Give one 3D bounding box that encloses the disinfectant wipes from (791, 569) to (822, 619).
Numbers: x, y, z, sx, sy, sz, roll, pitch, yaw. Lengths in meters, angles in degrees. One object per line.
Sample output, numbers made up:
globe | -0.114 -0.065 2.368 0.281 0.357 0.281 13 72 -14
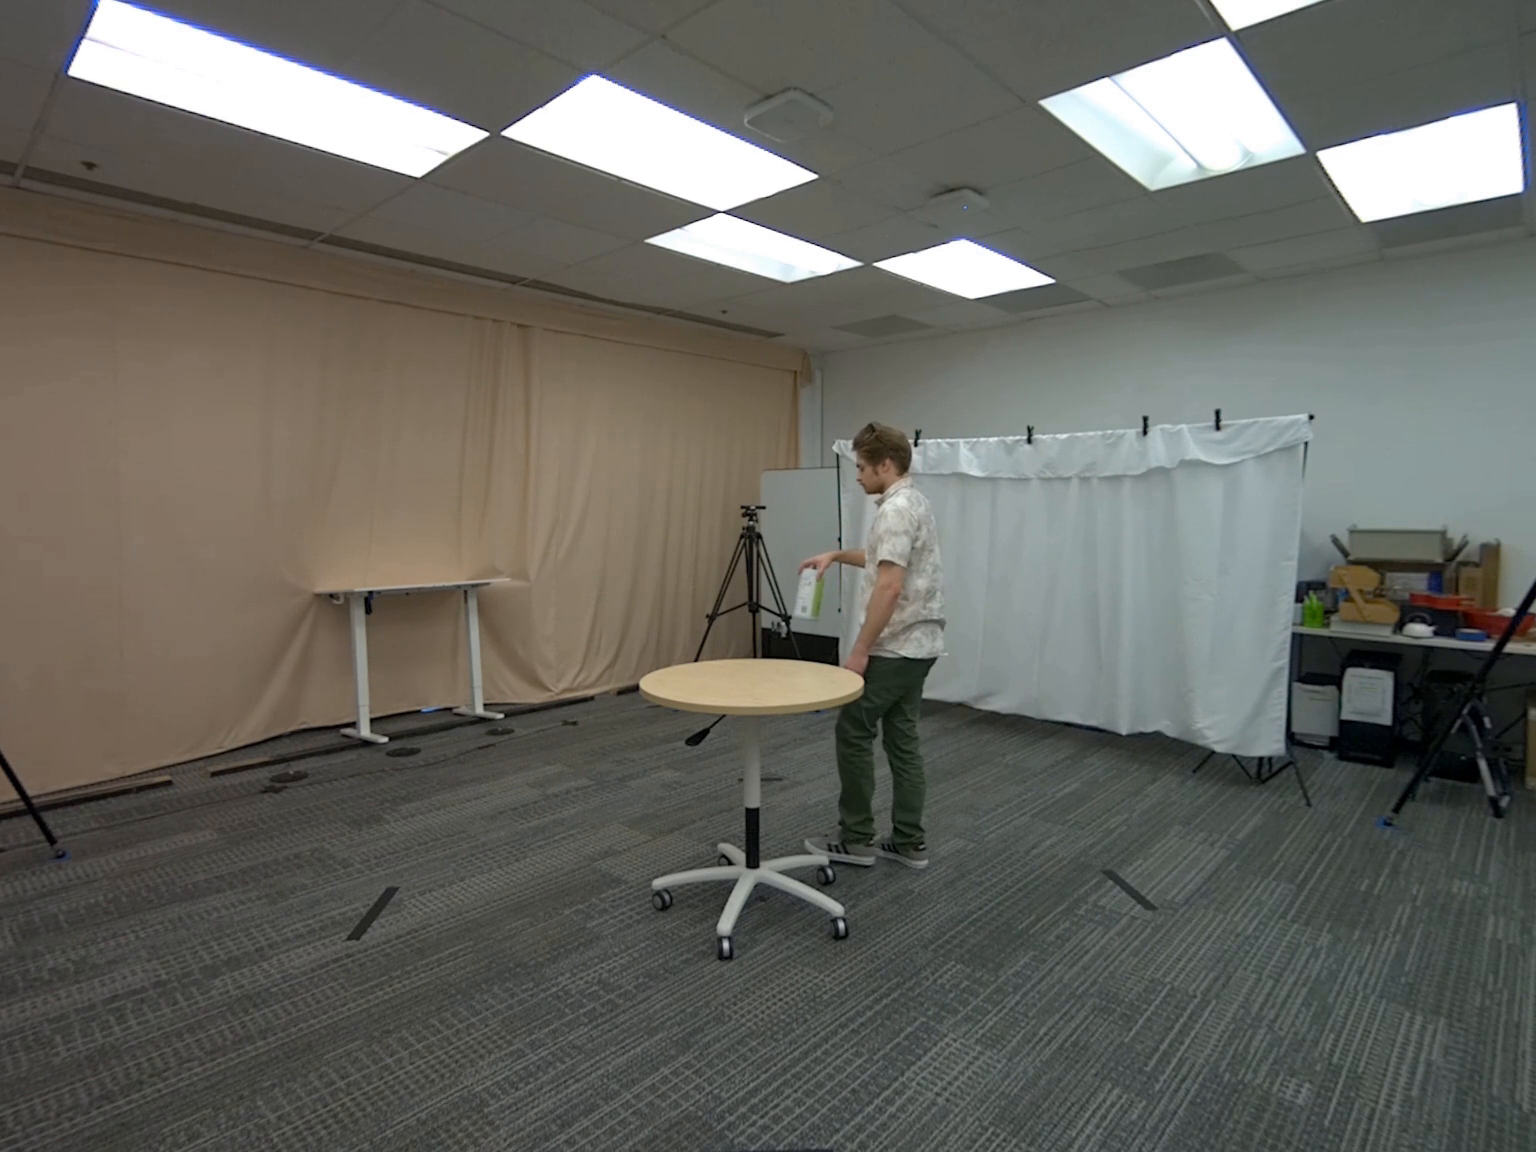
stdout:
disinfectant wipes | 0.180 0.081 3.612 0.118 0.217 0.118 8 0 -2
